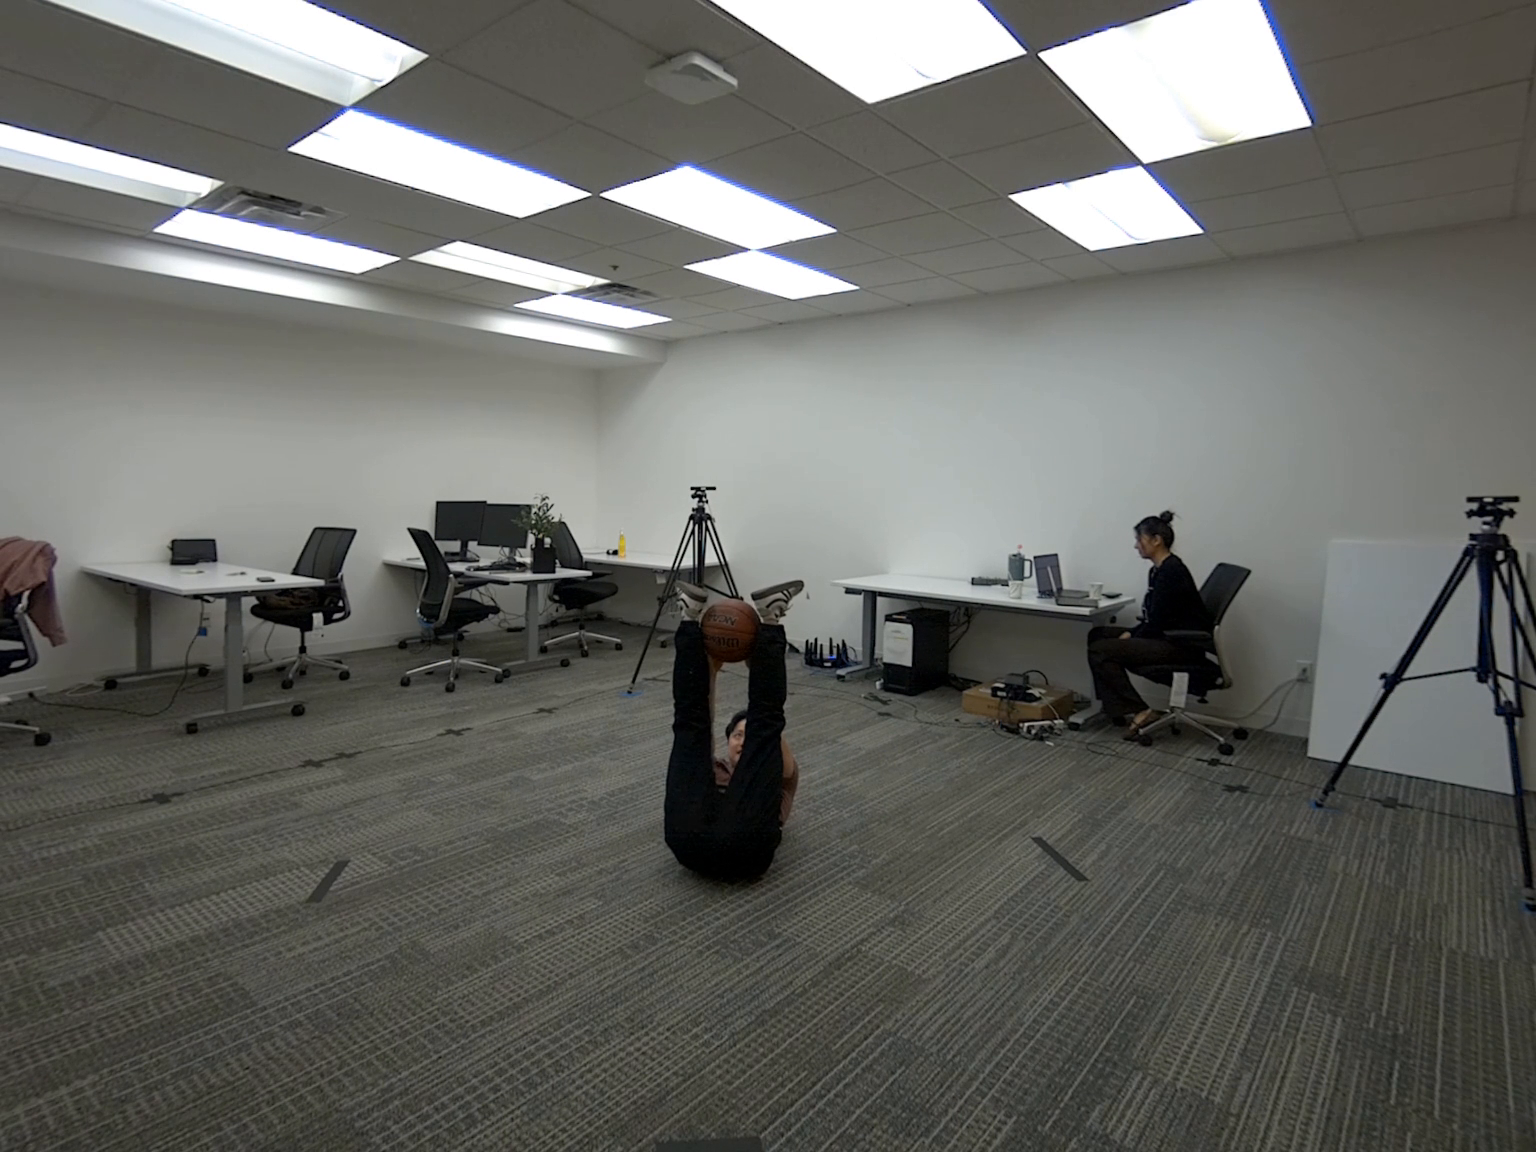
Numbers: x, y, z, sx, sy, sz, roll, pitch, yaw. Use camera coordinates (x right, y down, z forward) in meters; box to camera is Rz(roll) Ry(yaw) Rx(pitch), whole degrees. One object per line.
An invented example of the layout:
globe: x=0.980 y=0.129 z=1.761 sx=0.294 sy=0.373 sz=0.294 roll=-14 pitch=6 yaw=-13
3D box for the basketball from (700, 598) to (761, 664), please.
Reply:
basketball: x=-0.146 y=0.201 z=3.164 sx=0.236 sy=0.235 sz=0.237 roll=-3 pitch=3 yaw=-2
